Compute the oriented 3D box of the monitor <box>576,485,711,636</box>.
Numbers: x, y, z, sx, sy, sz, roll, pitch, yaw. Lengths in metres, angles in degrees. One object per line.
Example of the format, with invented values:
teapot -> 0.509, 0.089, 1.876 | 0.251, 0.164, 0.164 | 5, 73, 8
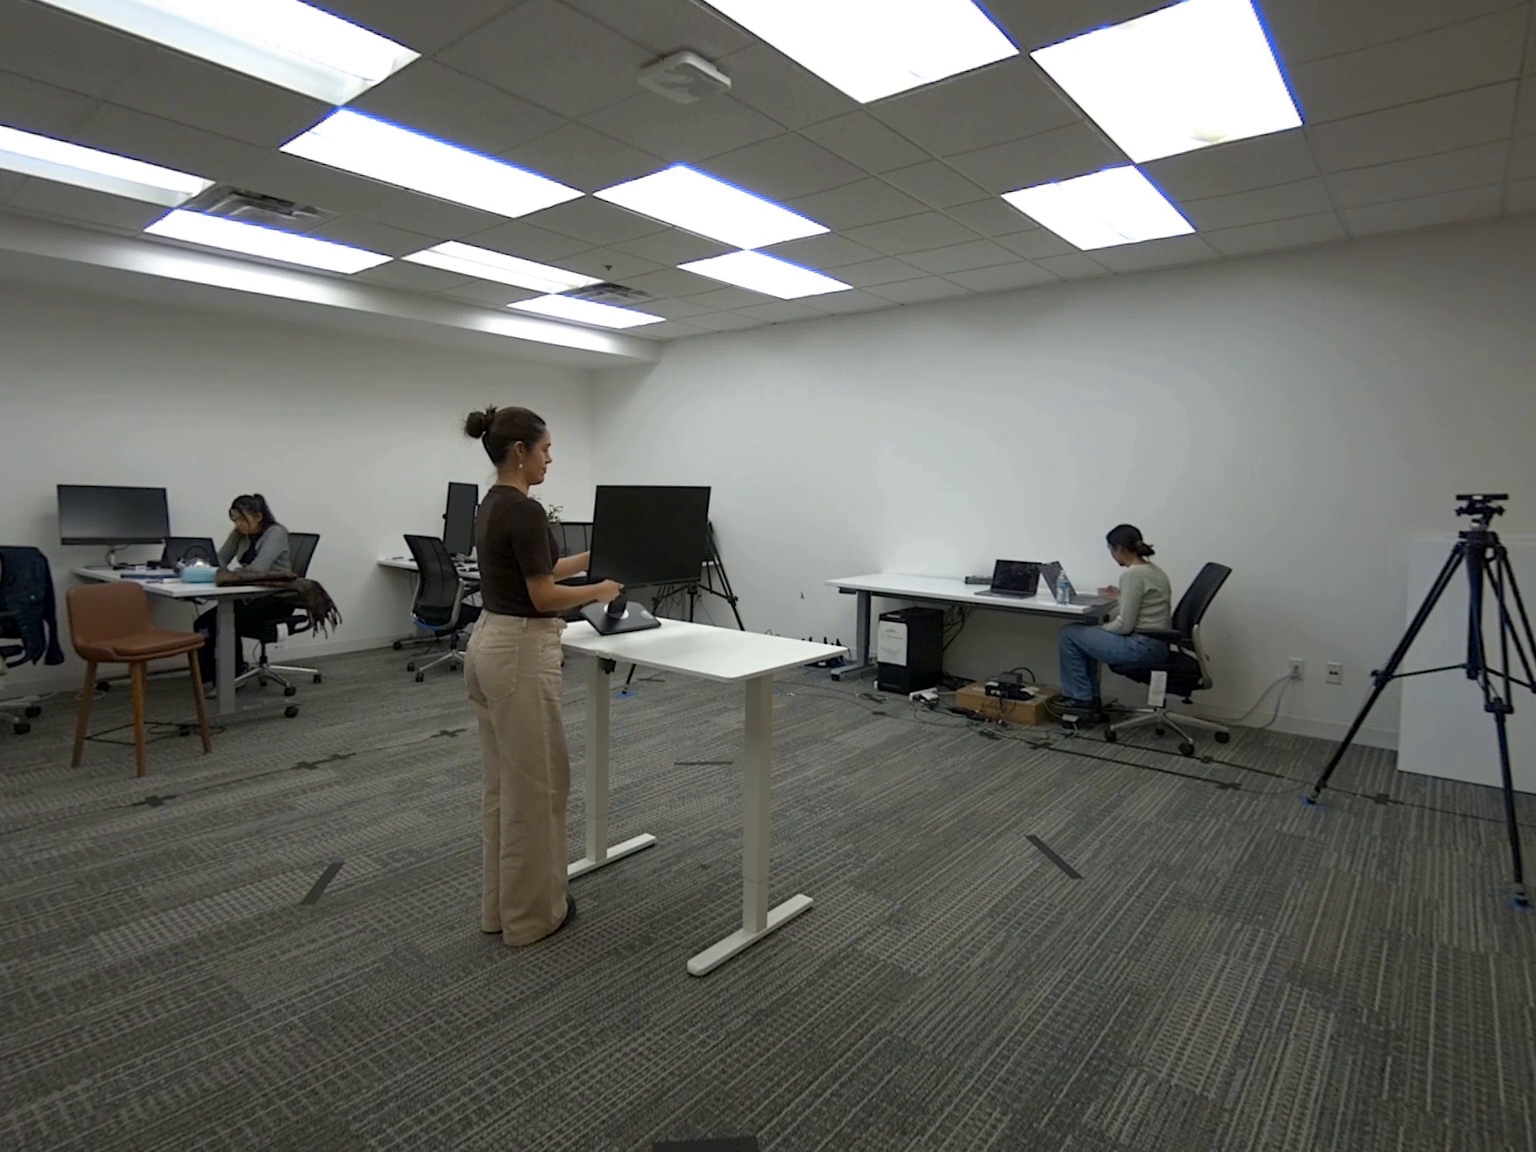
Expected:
monitor -> -0.456, -0.069, 2.937 | 0.194, 0.517, 0.524 | 30, 21, 32
